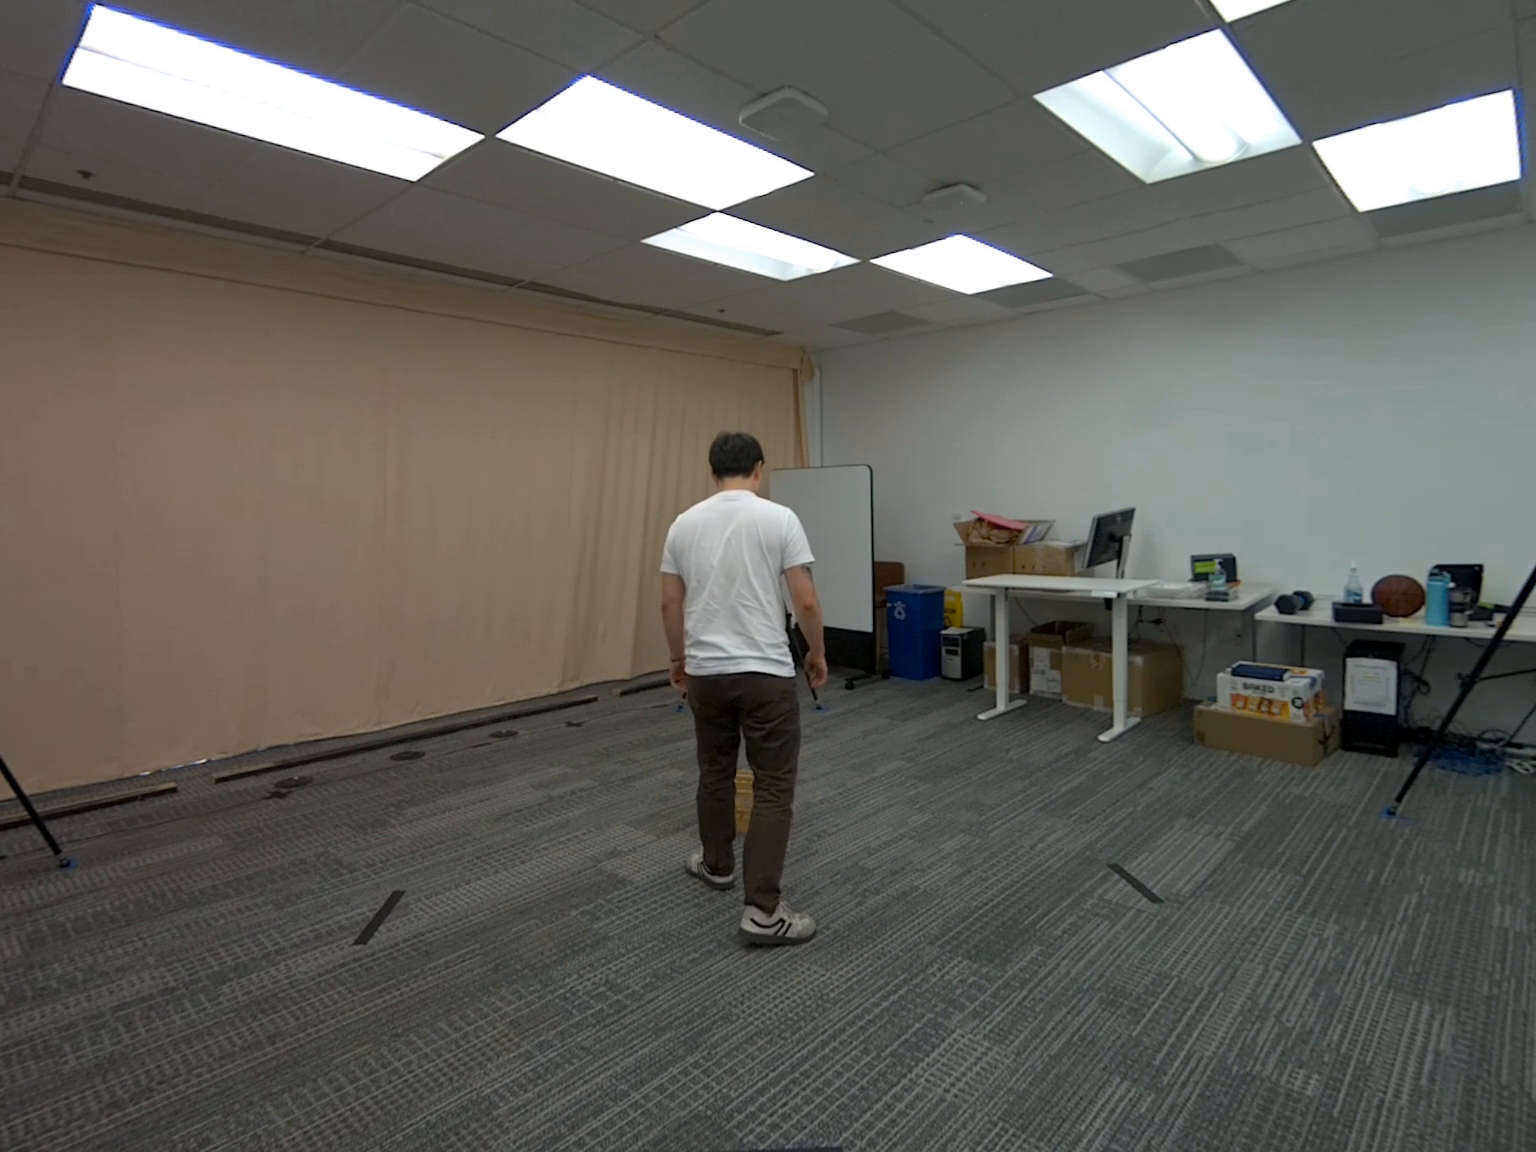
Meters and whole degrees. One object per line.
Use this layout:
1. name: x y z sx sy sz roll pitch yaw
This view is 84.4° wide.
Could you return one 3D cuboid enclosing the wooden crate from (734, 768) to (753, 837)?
1. wooden crate: -0.064 0.949 3.665 0.329 0.273 0.298 -1 4 13
